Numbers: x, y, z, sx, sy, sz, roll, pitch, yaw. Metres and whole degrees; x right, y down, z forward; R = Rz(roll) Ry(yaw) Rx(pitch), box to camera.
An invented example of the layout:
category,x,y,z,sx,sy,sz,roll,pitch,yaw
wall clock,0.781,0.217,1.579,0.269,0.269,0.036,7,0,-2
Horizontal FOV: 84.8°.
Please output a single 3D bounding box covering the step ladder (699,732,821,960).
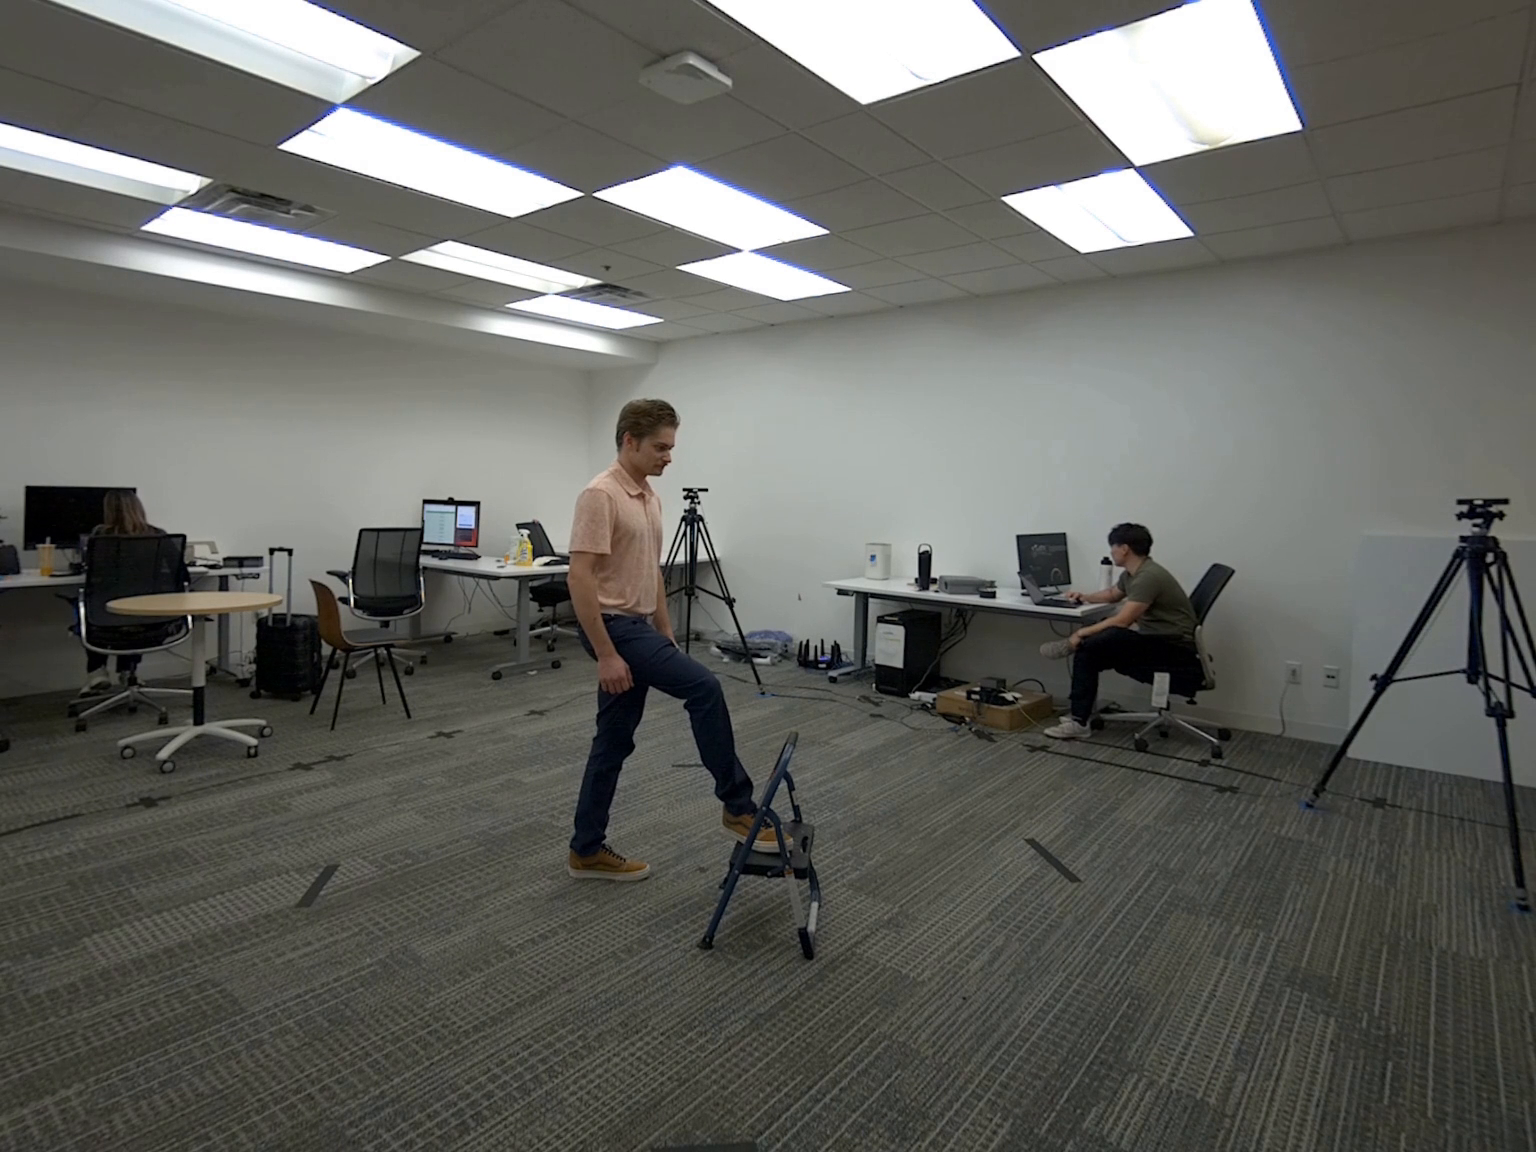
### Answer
category,x,y,z,sx,sy,sz,roll,pitch,yaw
step ladder,-0.010,0.809,2.731,0.353,0.604,0.428,2,3,8
